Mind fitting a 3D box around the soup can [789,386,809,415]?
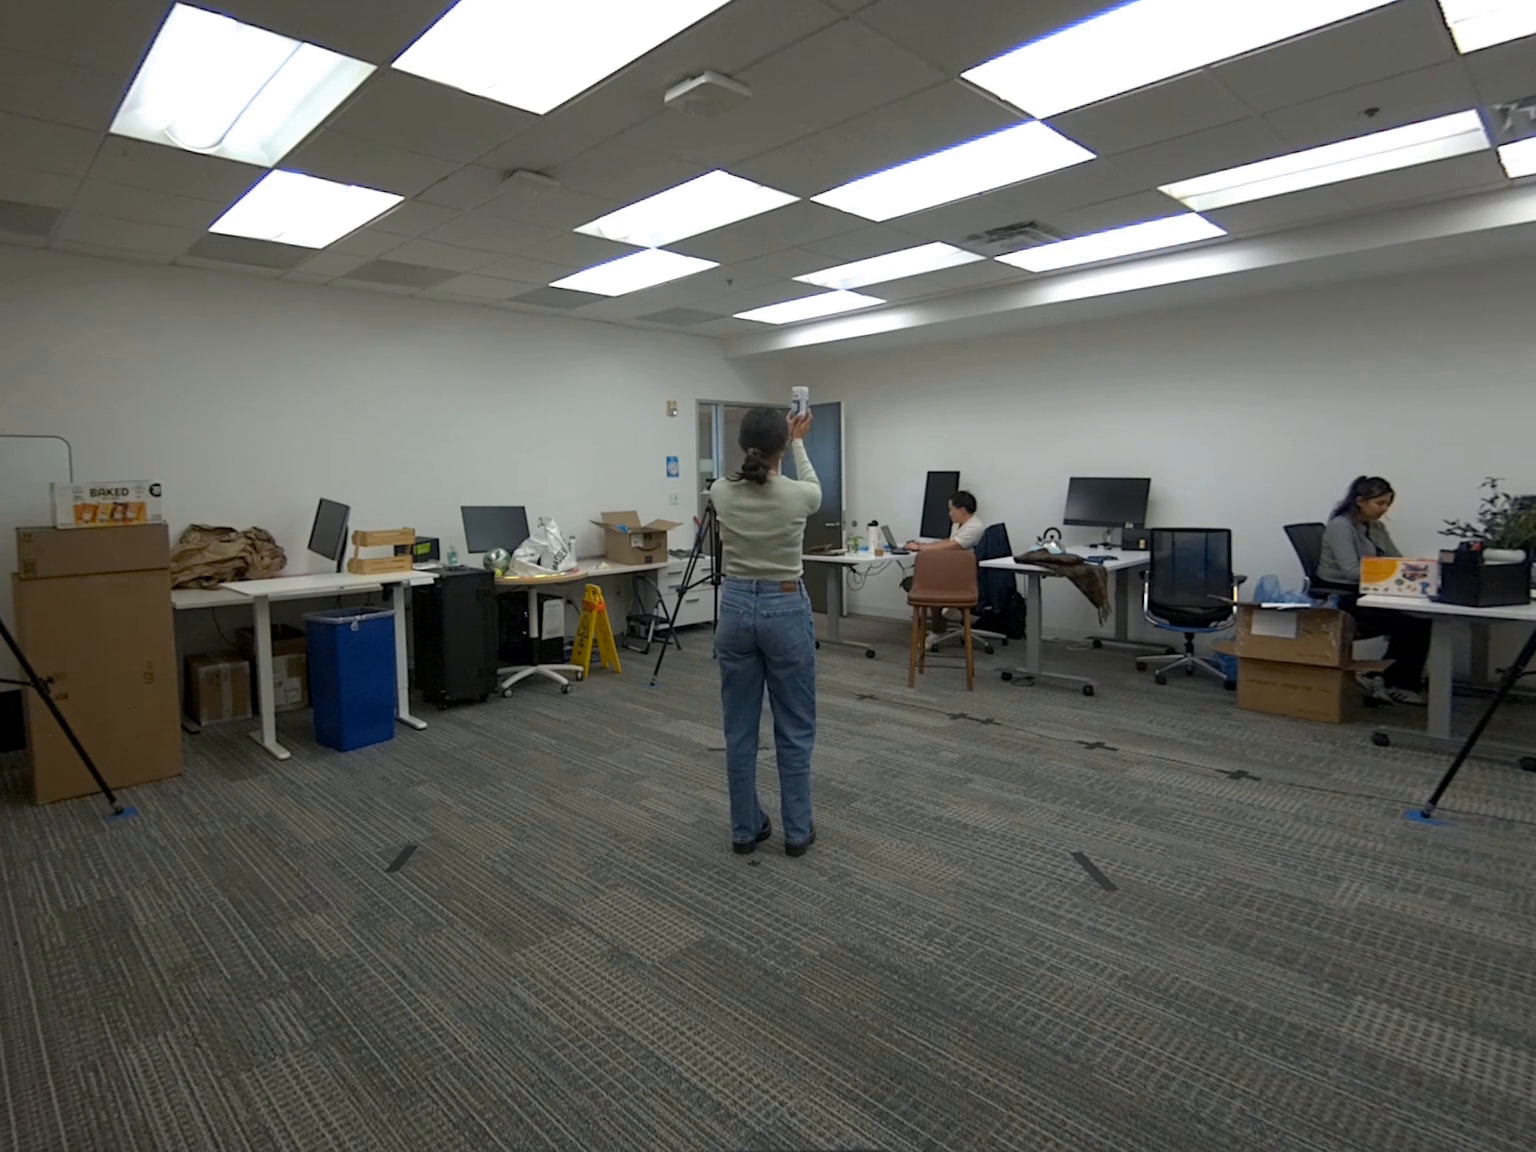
[{"bbox_3d":[0.127,-0.709,3.479,0.067,0.121,0.067,1,5,-2],"label":"soup can"}]
